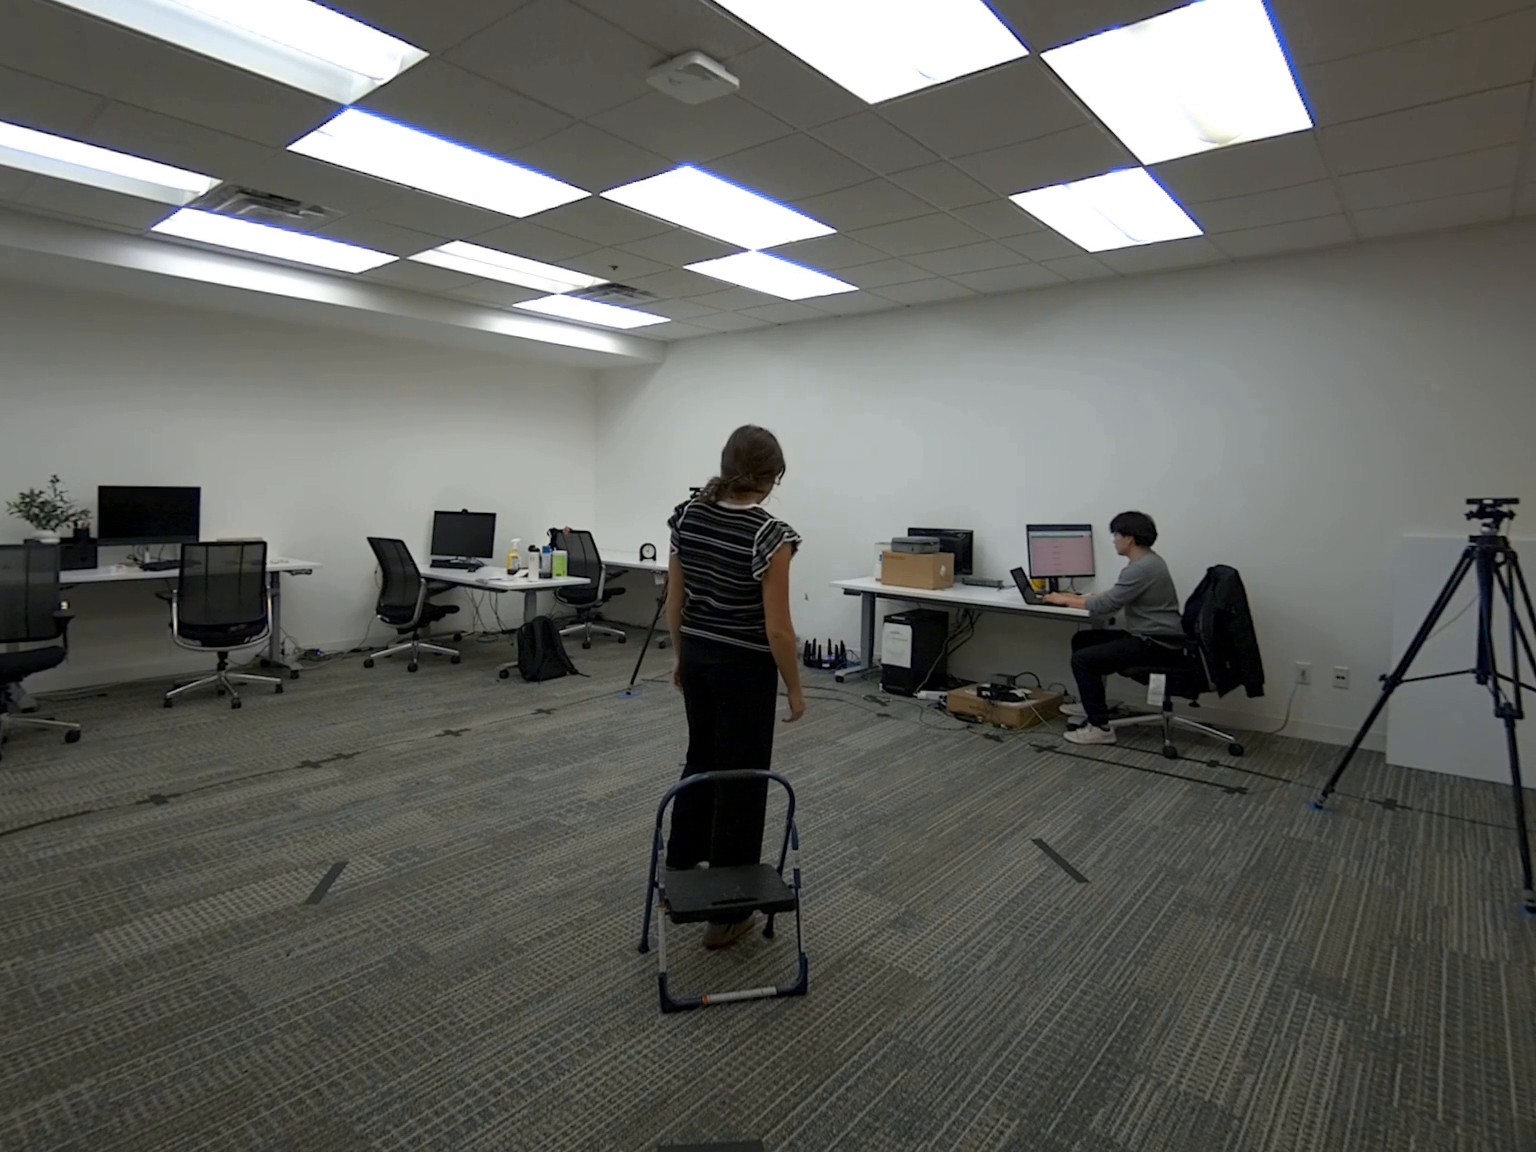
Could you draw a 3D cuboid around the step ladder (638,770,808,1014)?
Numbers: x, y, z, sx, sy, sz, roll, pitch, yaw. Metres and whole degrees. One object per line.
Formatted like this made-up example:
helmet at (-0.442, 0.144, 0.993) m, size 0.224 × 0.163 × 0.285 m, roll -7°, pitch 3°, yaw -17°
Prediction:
step ladder at (-0.140, 0.834, 2.442) m, size 0.423 × 0.605 × 0.356 m, roll 0°, pitch 3°, yaw -17°
